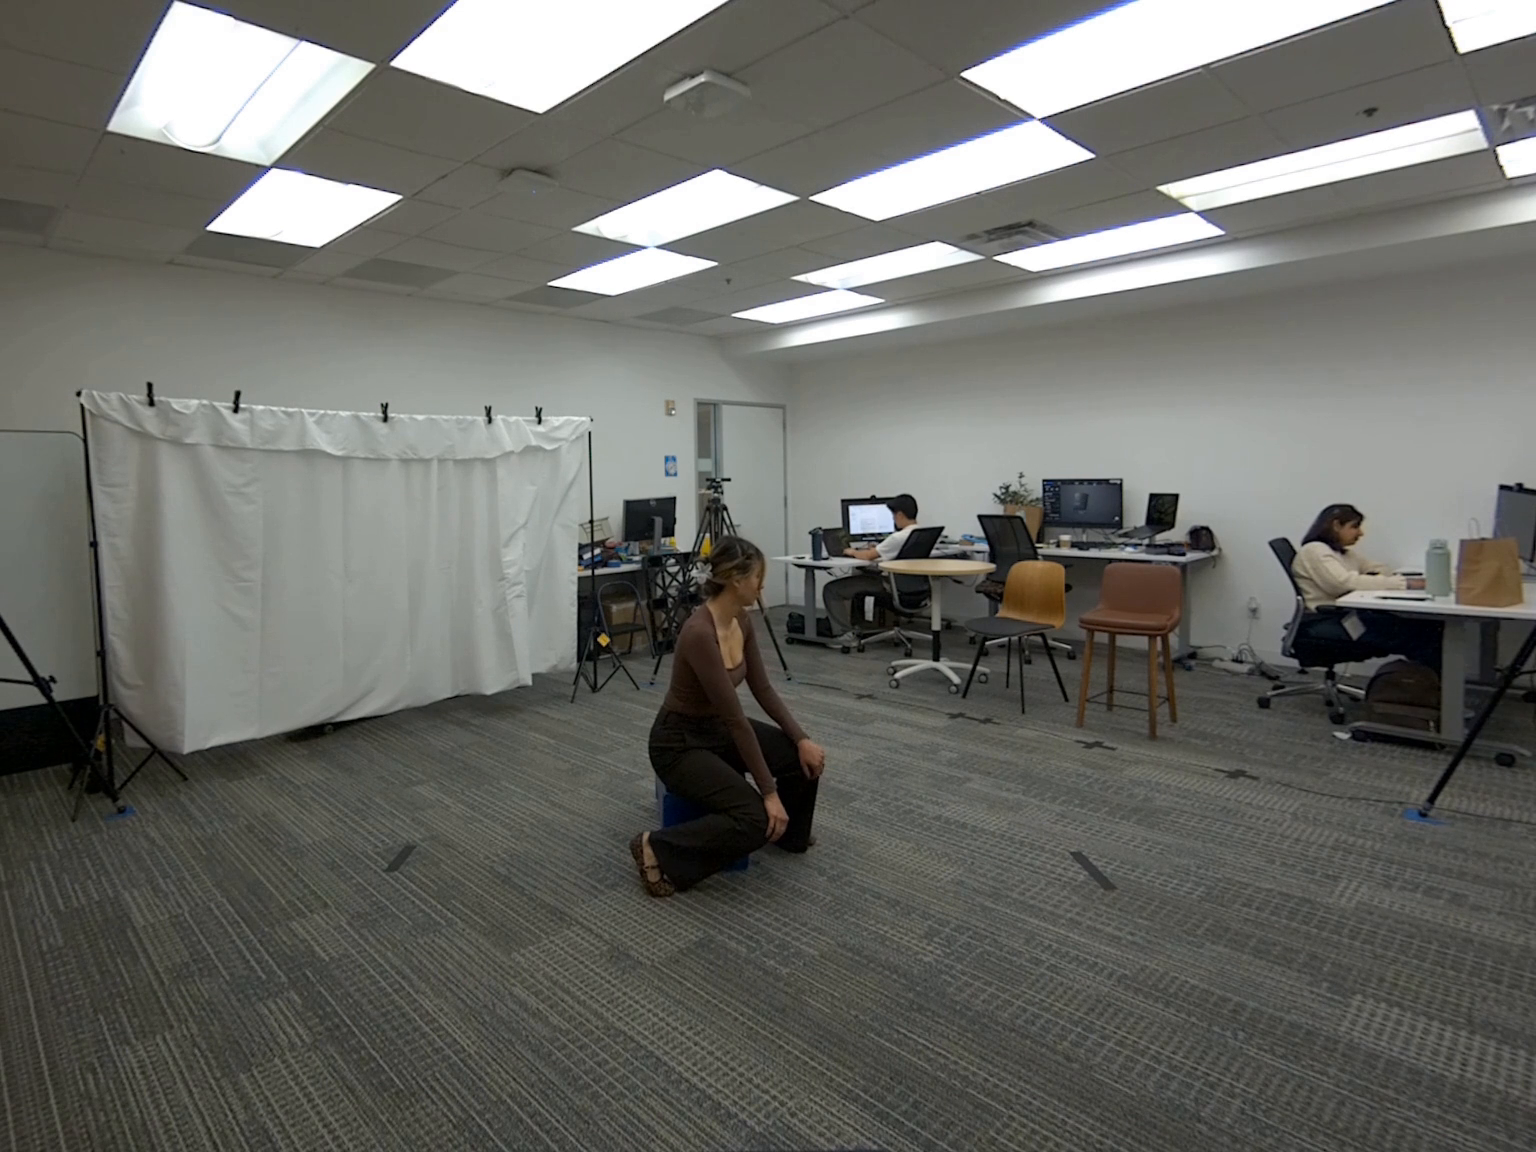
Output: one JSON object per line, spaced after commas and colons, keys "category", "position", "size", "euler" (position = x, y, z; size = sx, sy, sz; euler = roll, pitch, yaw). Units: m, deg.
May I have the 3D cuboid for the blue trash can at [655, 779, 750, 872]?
{"category": "blue trash can", "position": [-0.249, 0.846, 3.376], "size": [0.371, 0.375, 0.723], "euler": [-1, 9, -8]}
